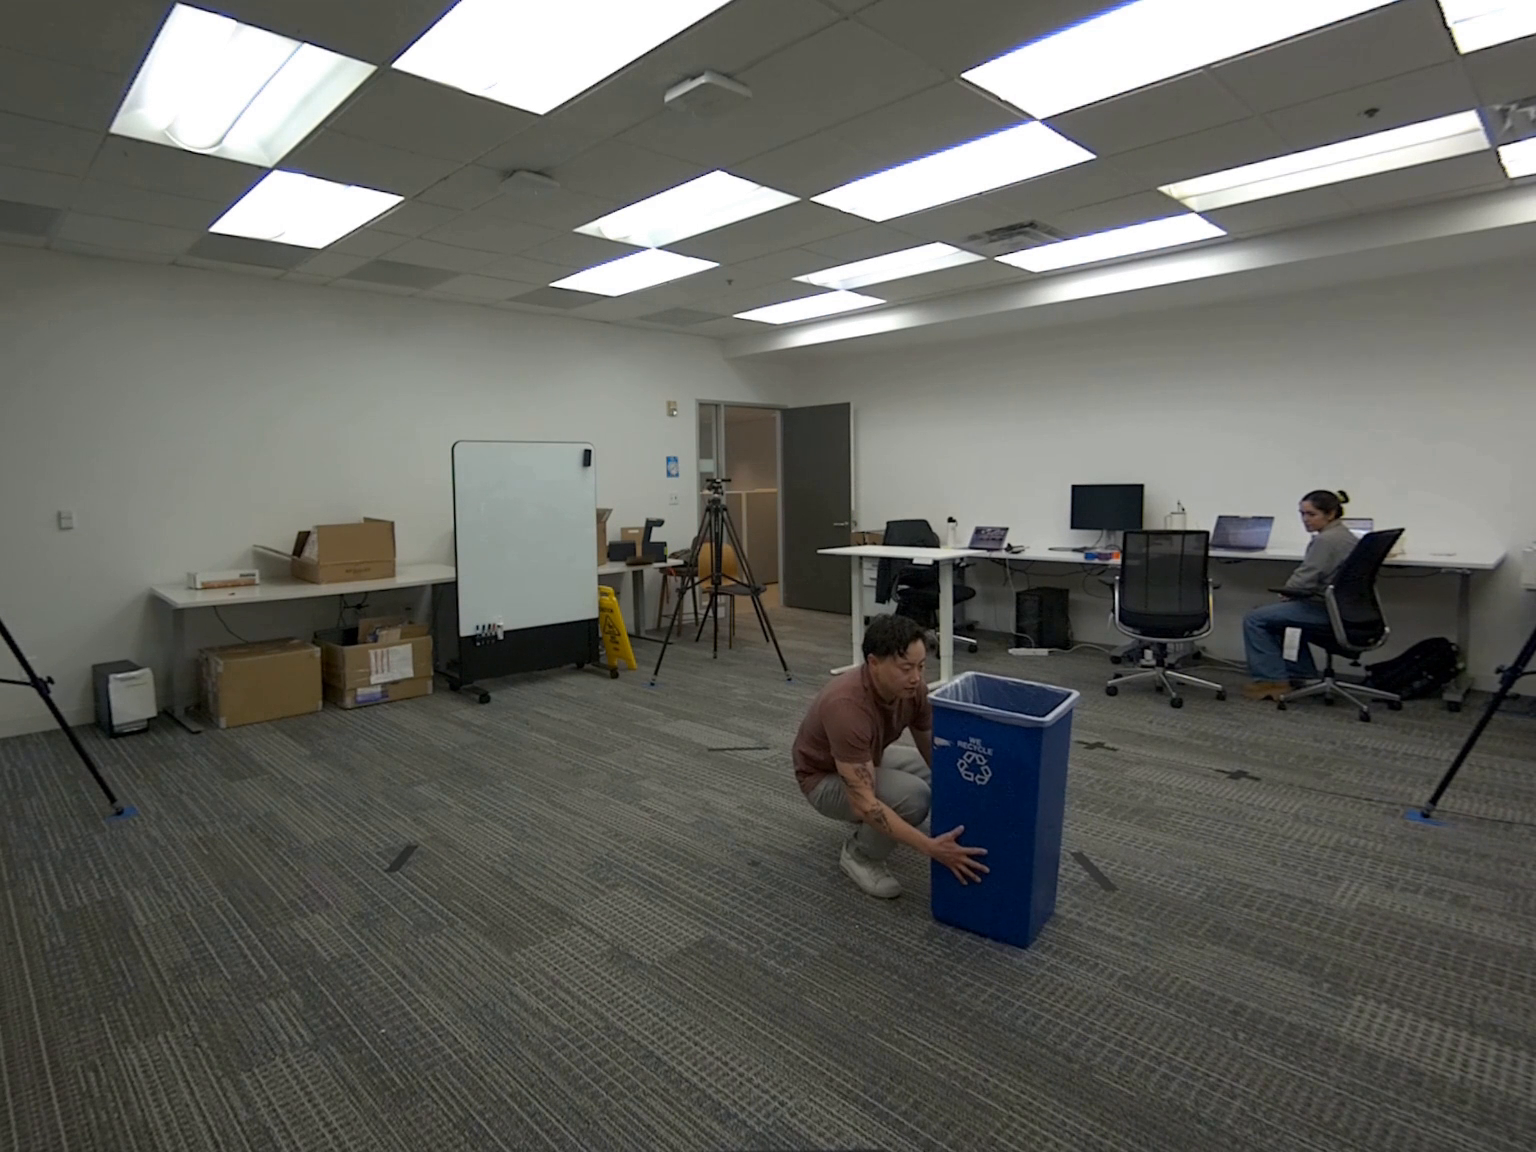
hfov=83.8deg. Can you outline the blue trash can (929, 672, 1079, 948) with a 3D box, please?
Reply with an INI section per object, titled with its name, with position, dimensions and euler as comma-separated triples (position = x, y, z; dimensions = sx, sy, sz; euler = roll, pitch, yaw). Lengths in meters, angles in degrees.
[blue trash can]
position = 0.732, 0.712, 2.669
dimensions = 0.385, 0.709, 0.369
euler = 5, 8, 35
